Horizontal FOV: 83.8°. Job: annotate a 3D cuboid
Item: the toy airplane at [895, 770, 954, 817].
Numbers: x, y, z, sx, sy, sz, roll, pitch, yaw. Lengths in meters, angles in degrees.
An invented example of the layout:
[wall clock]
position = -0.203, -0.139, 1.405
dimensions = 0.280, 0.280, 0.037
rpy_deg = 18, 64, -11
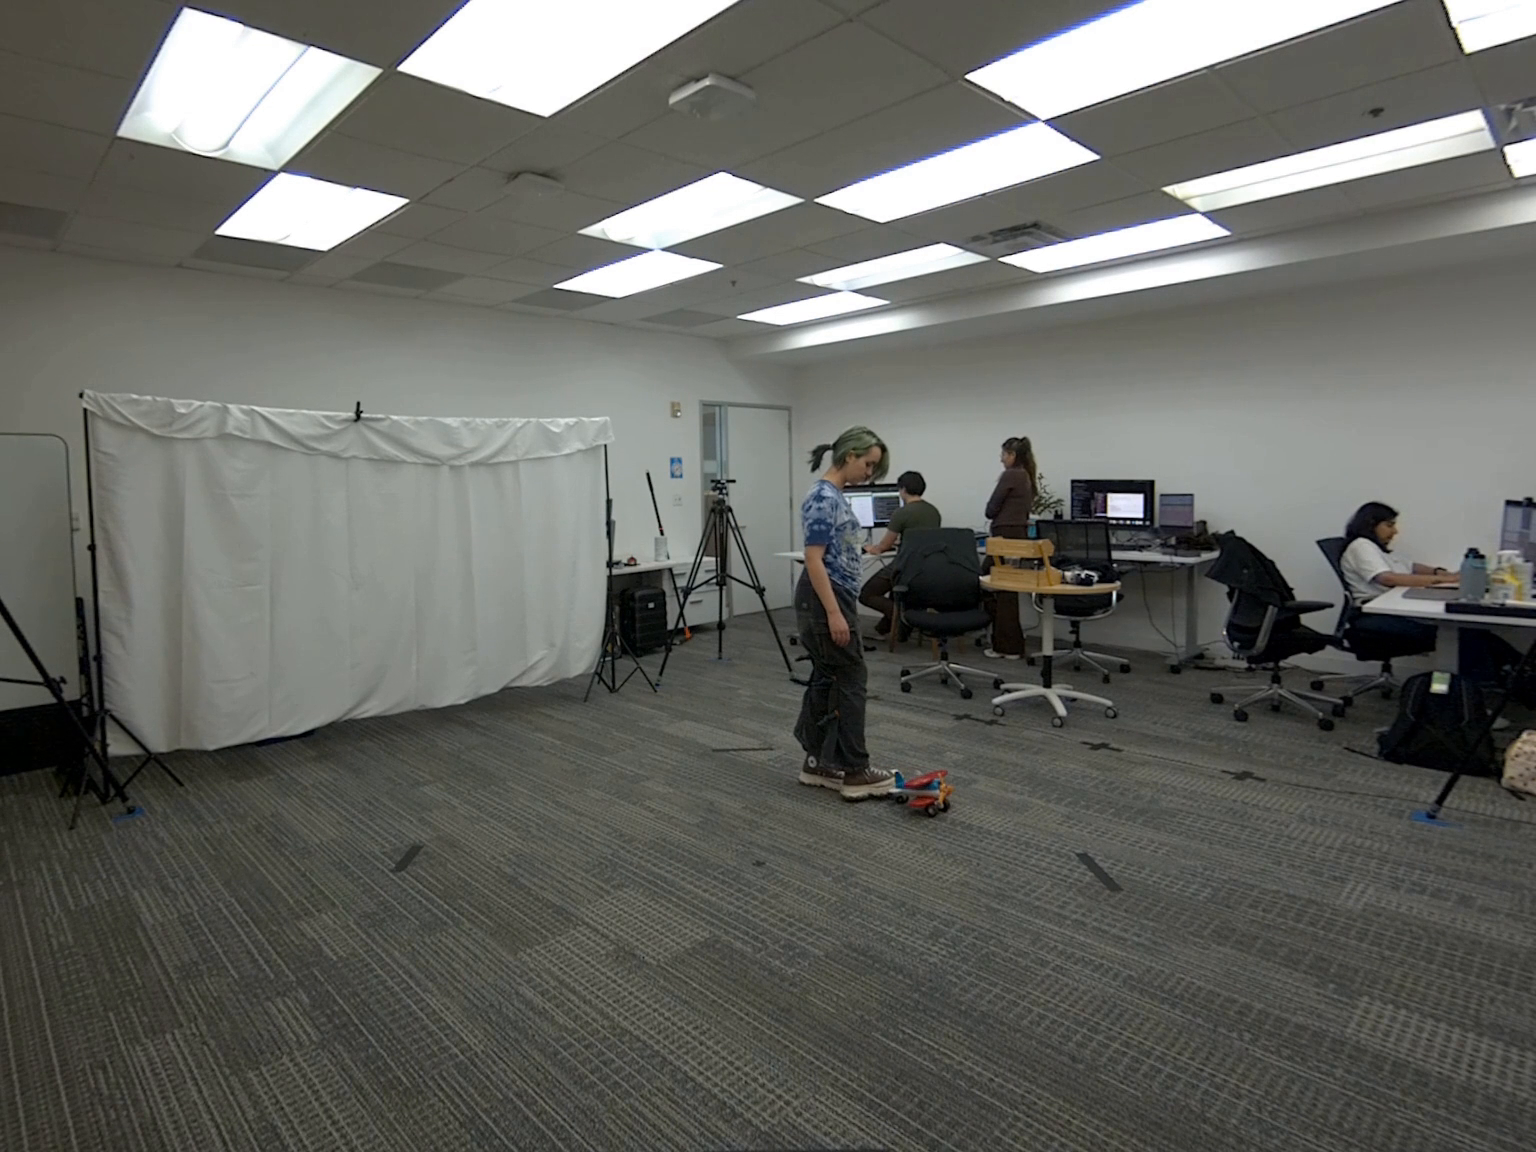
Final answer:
[toy airplane]
position = 0.635, 0.907, 3.586
dimensions = 0.264, 0.156, 0.247
rpy_deg = 2, 5, 19
